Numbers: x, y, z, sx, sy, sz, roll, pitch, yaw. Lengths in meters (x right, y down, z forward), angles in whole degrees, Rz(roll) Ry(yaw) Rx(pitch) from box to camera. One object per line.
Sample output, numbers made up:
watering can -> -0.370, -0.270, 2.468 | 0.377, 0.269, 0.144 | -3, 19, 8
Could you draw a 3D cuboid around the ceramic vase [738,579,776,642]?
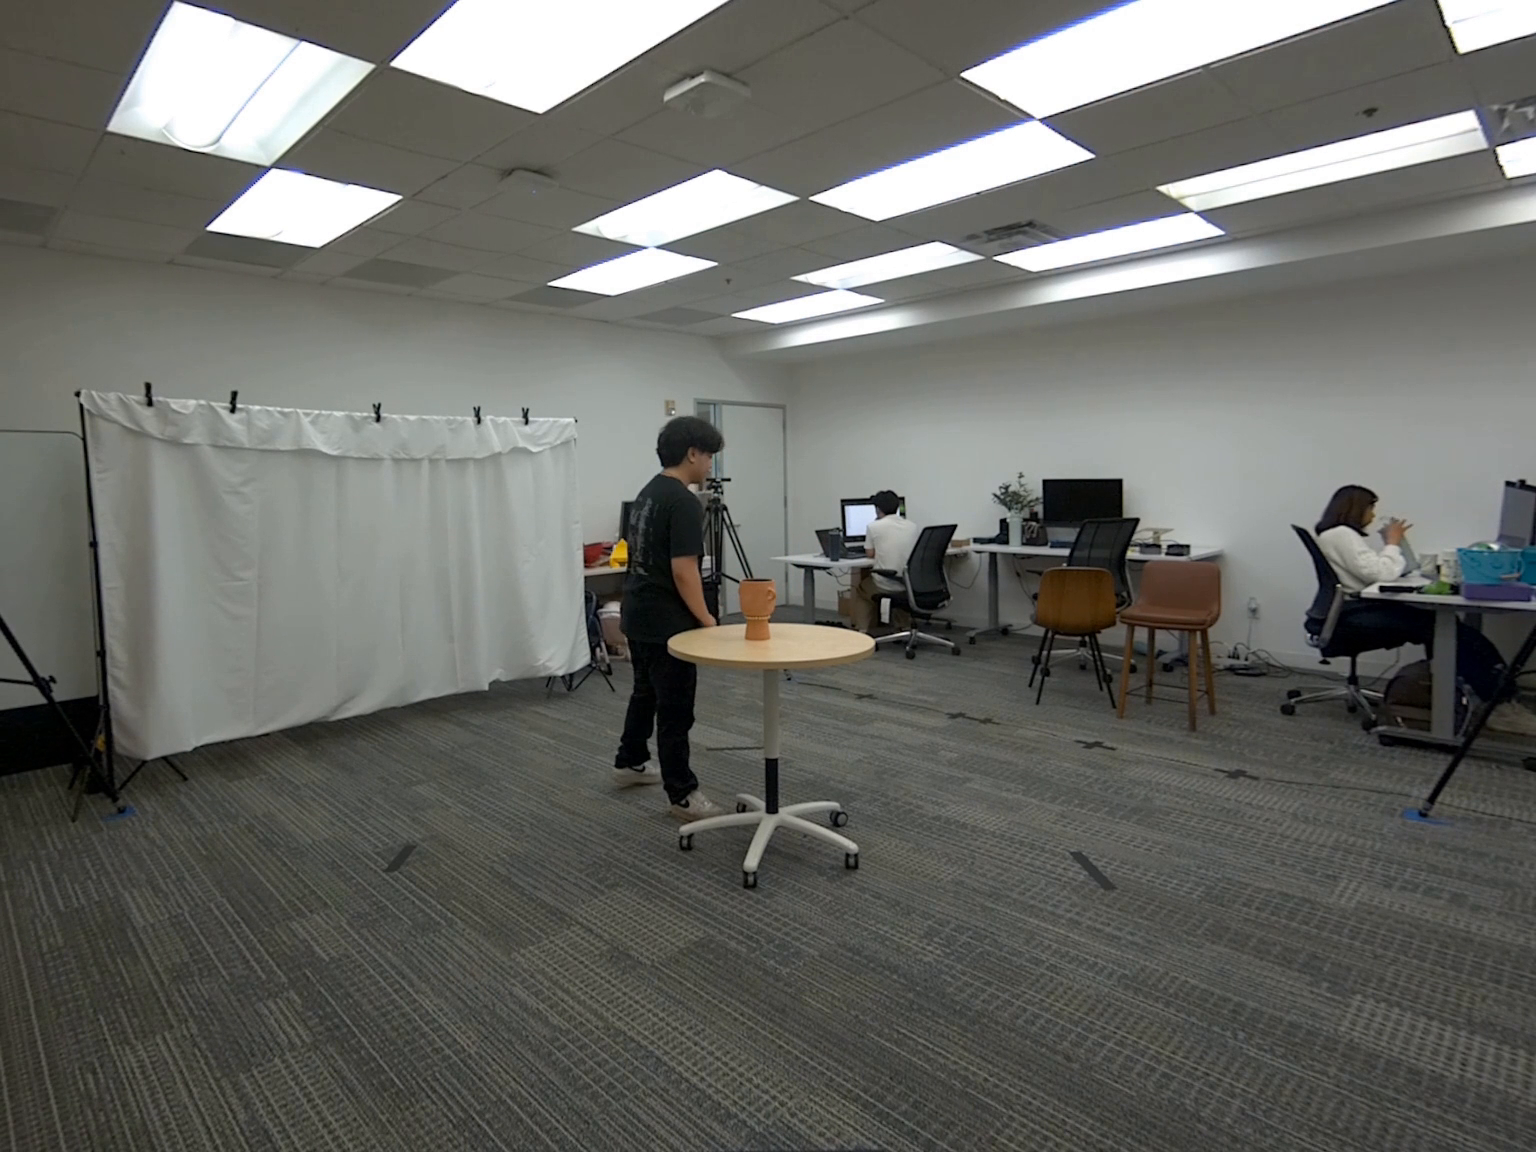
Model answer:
ceramic vase -> -0.041, 0.127, 3.223 | 0.134, 0.219, 0.160 | -1, 3, -4
